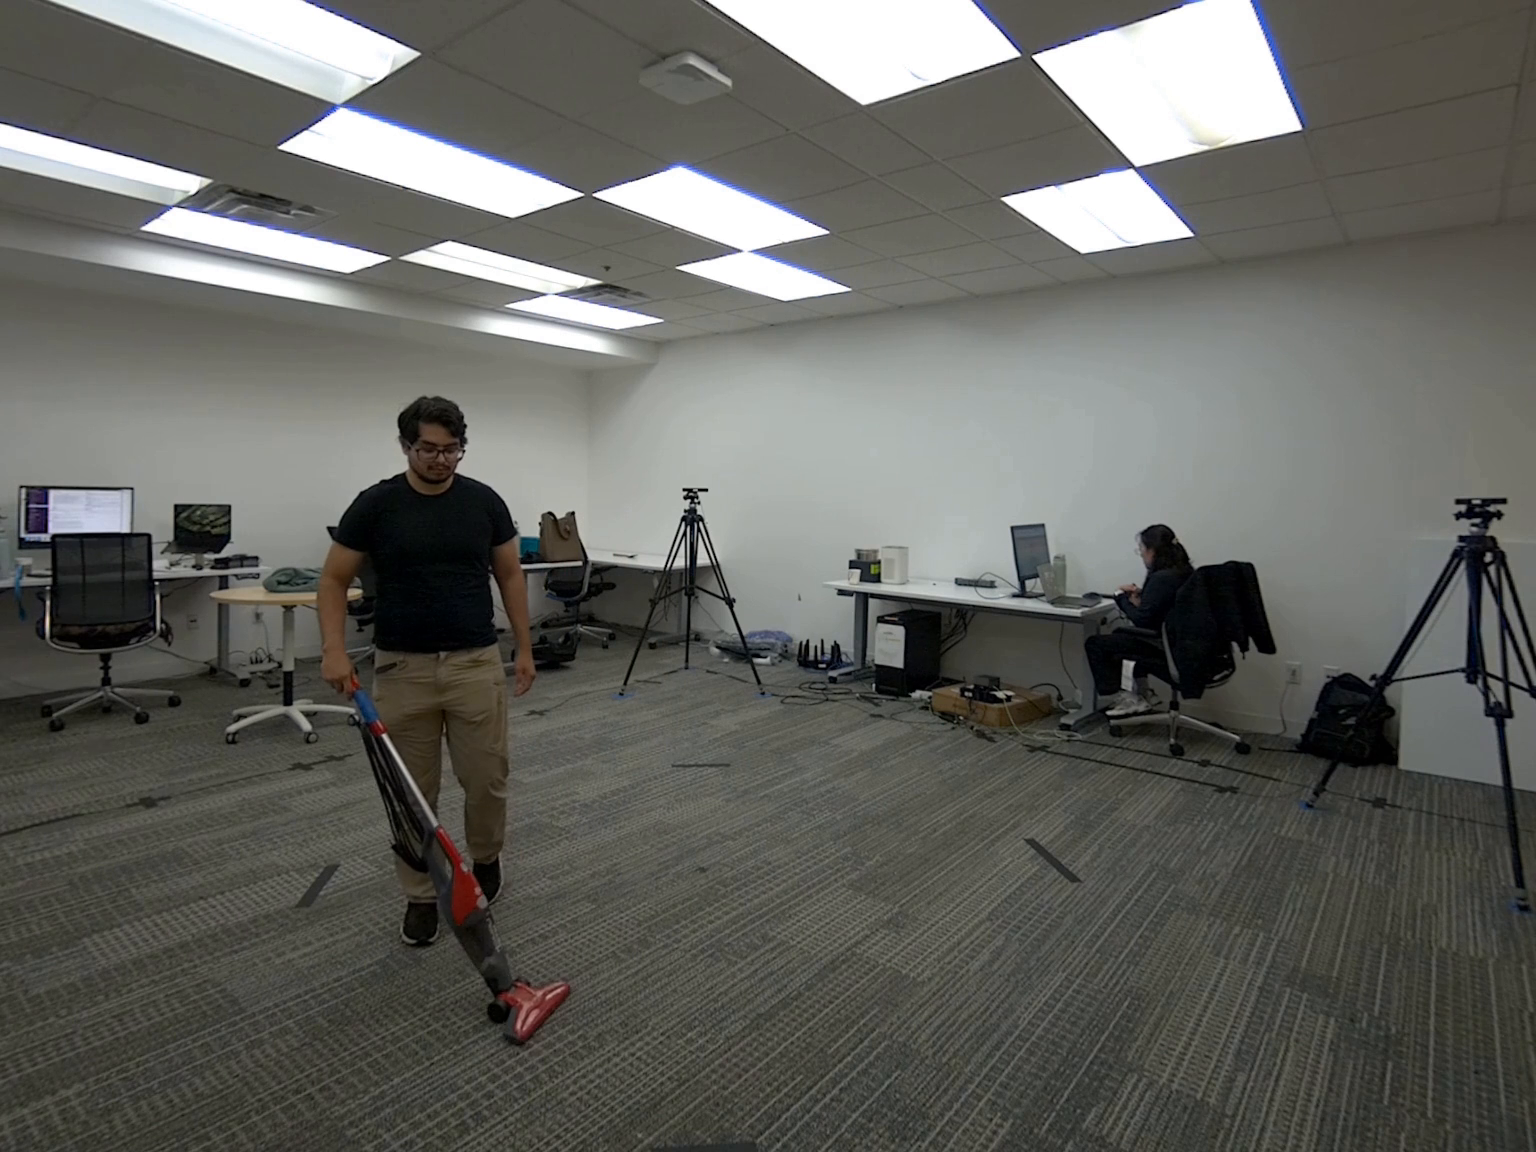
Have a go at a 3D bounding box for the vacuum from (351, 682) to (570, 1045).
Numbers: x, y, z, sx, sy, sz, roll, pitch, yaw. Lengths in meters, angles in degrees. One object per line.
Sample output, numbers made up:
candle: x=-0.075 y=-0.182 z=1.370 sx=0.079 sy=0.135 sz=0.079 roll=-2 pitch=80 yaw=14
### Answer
vacuum: x=-0.928 y=0.709 z=2.338 sx=0.145 sy=1.064 sz=0.248 roll=-37 pitch=-10 yaw=20
